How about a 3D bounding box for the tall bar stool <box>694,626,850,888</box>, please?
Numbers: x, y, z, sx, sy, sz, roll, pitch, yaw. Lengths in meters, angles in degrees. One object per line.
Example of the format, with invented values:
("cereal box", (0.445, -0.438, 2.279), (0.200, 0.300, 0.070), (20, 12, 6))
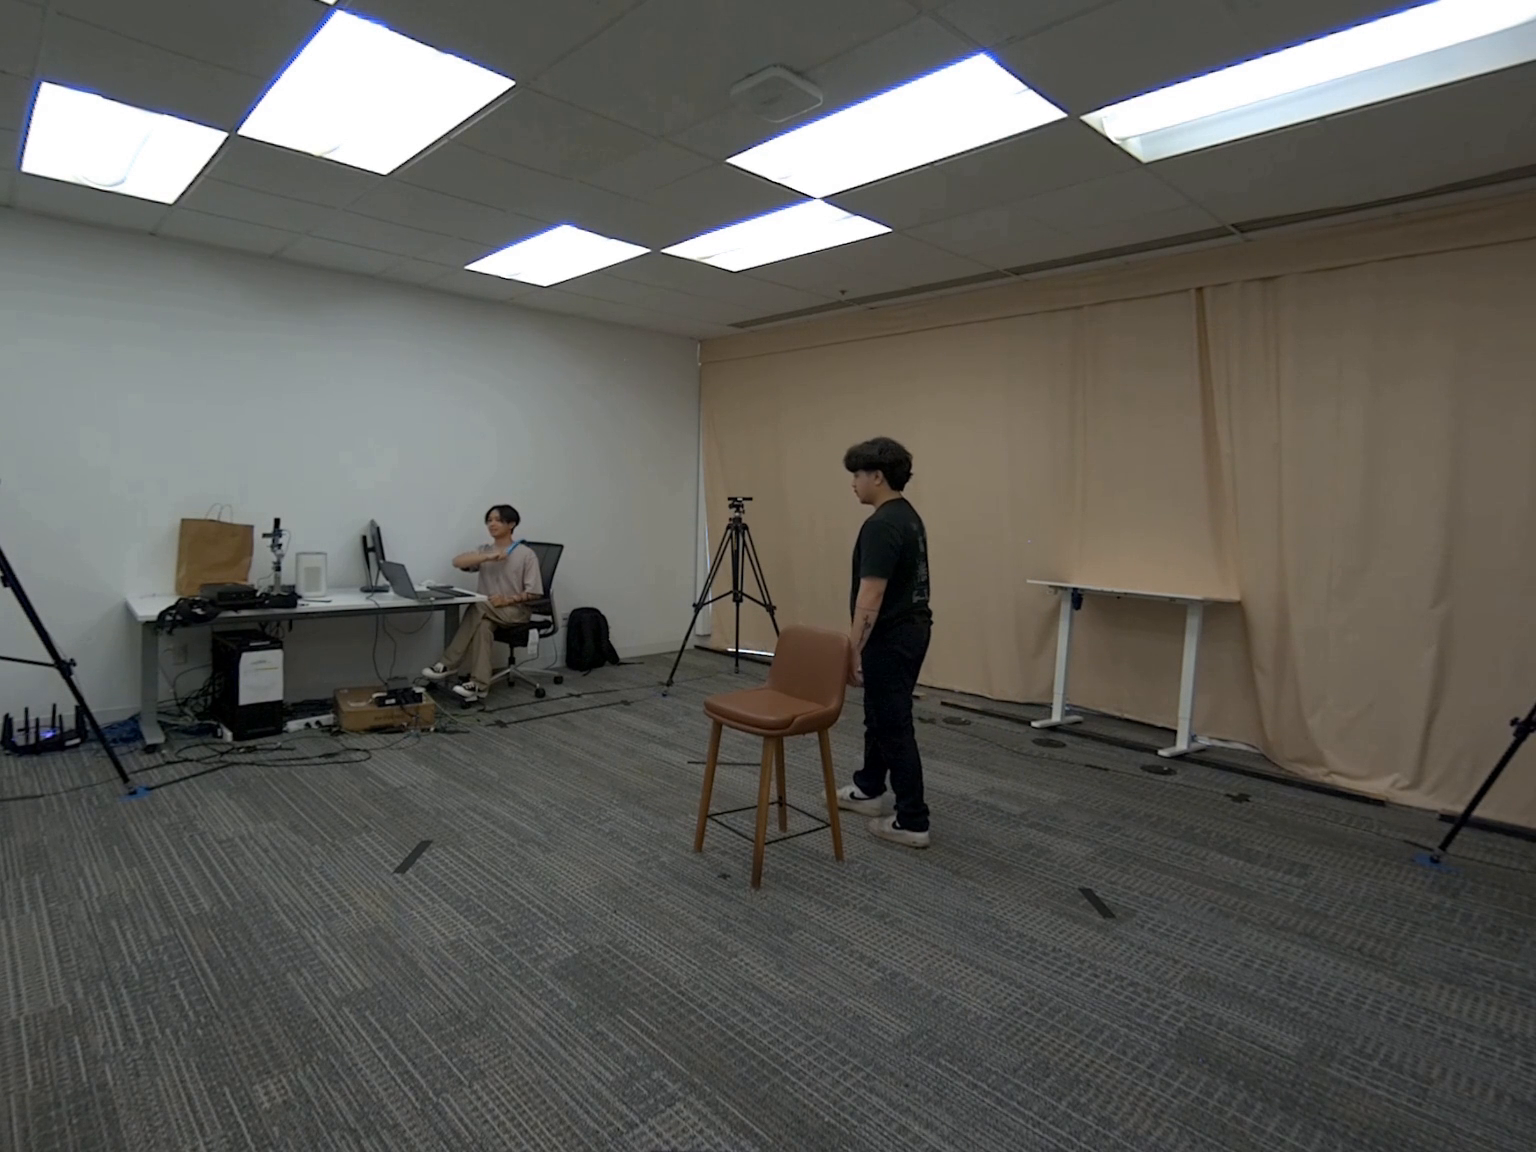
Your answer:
("tall bar stool", (0.017, 0.662, 3.270), (0.457, 0.889, 0.468), (2, 2, -37))
